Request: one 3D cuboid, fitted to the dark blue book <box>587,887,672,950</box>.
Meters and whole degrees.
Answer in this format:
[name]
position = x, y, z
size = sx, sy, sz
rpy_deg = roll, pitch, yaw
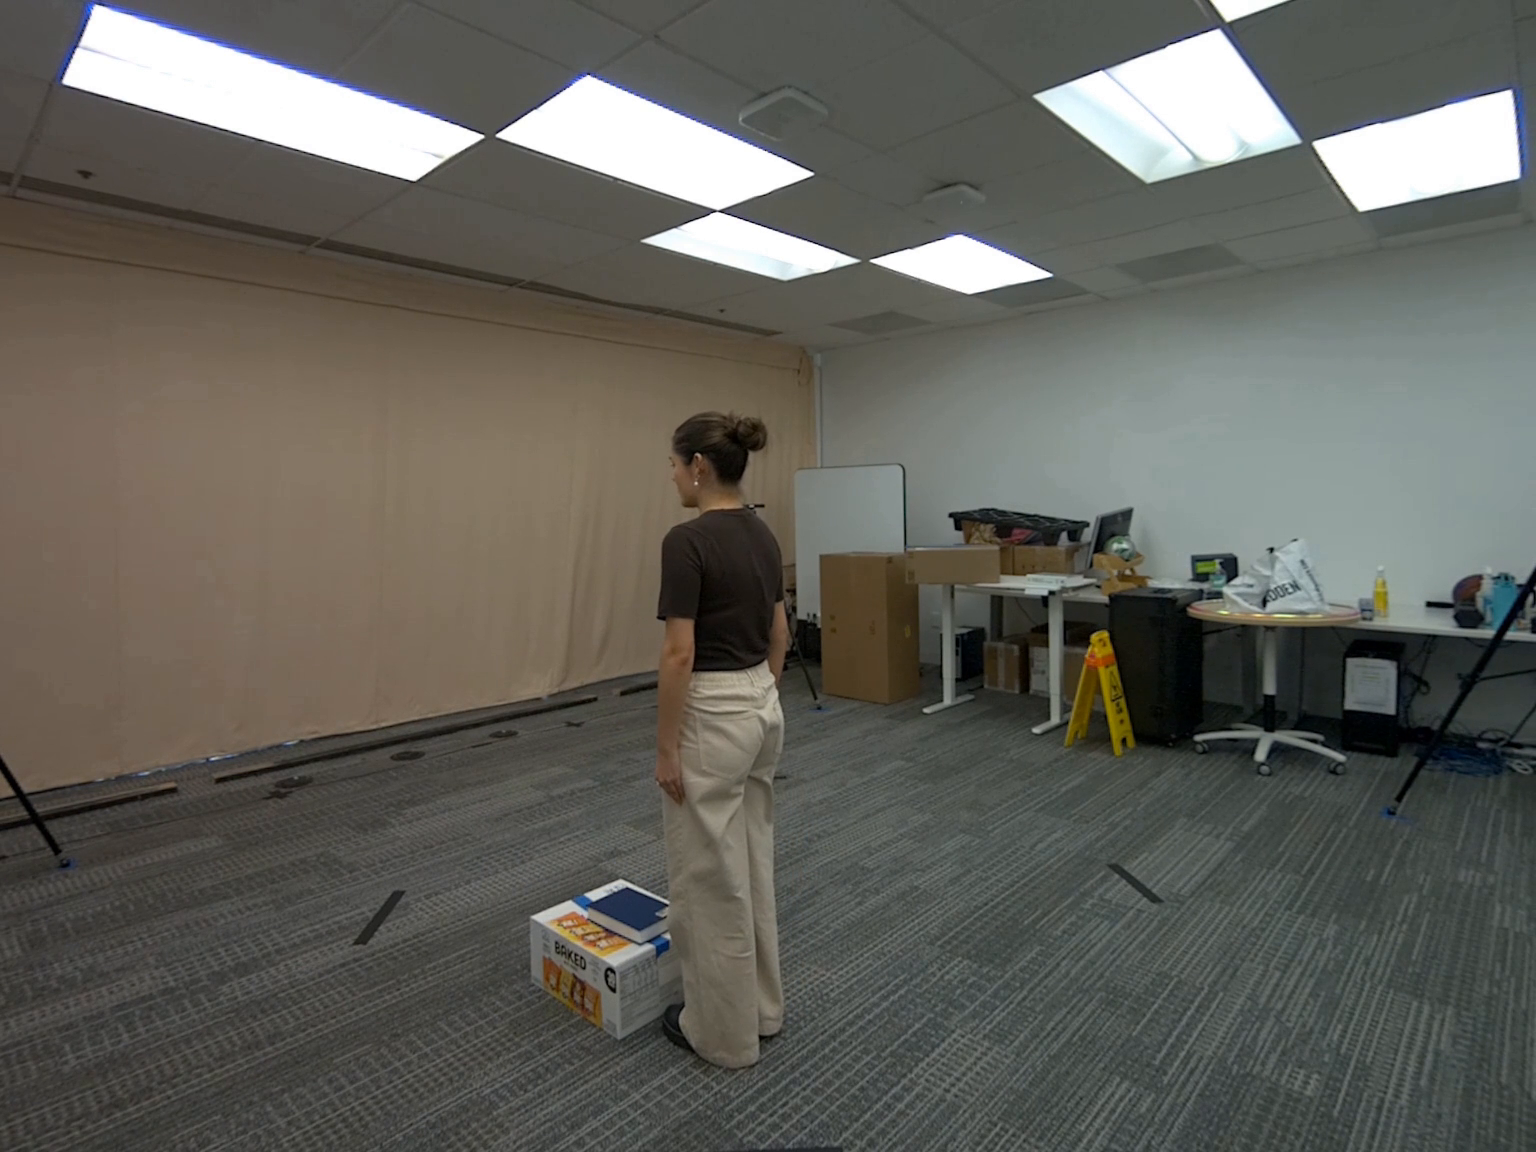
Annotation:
[dark blue book]
position = -0.378, 0.975, 2.429
size = 0.253, 0.045, 0.158
rpy_deg = 1, 5, 42
